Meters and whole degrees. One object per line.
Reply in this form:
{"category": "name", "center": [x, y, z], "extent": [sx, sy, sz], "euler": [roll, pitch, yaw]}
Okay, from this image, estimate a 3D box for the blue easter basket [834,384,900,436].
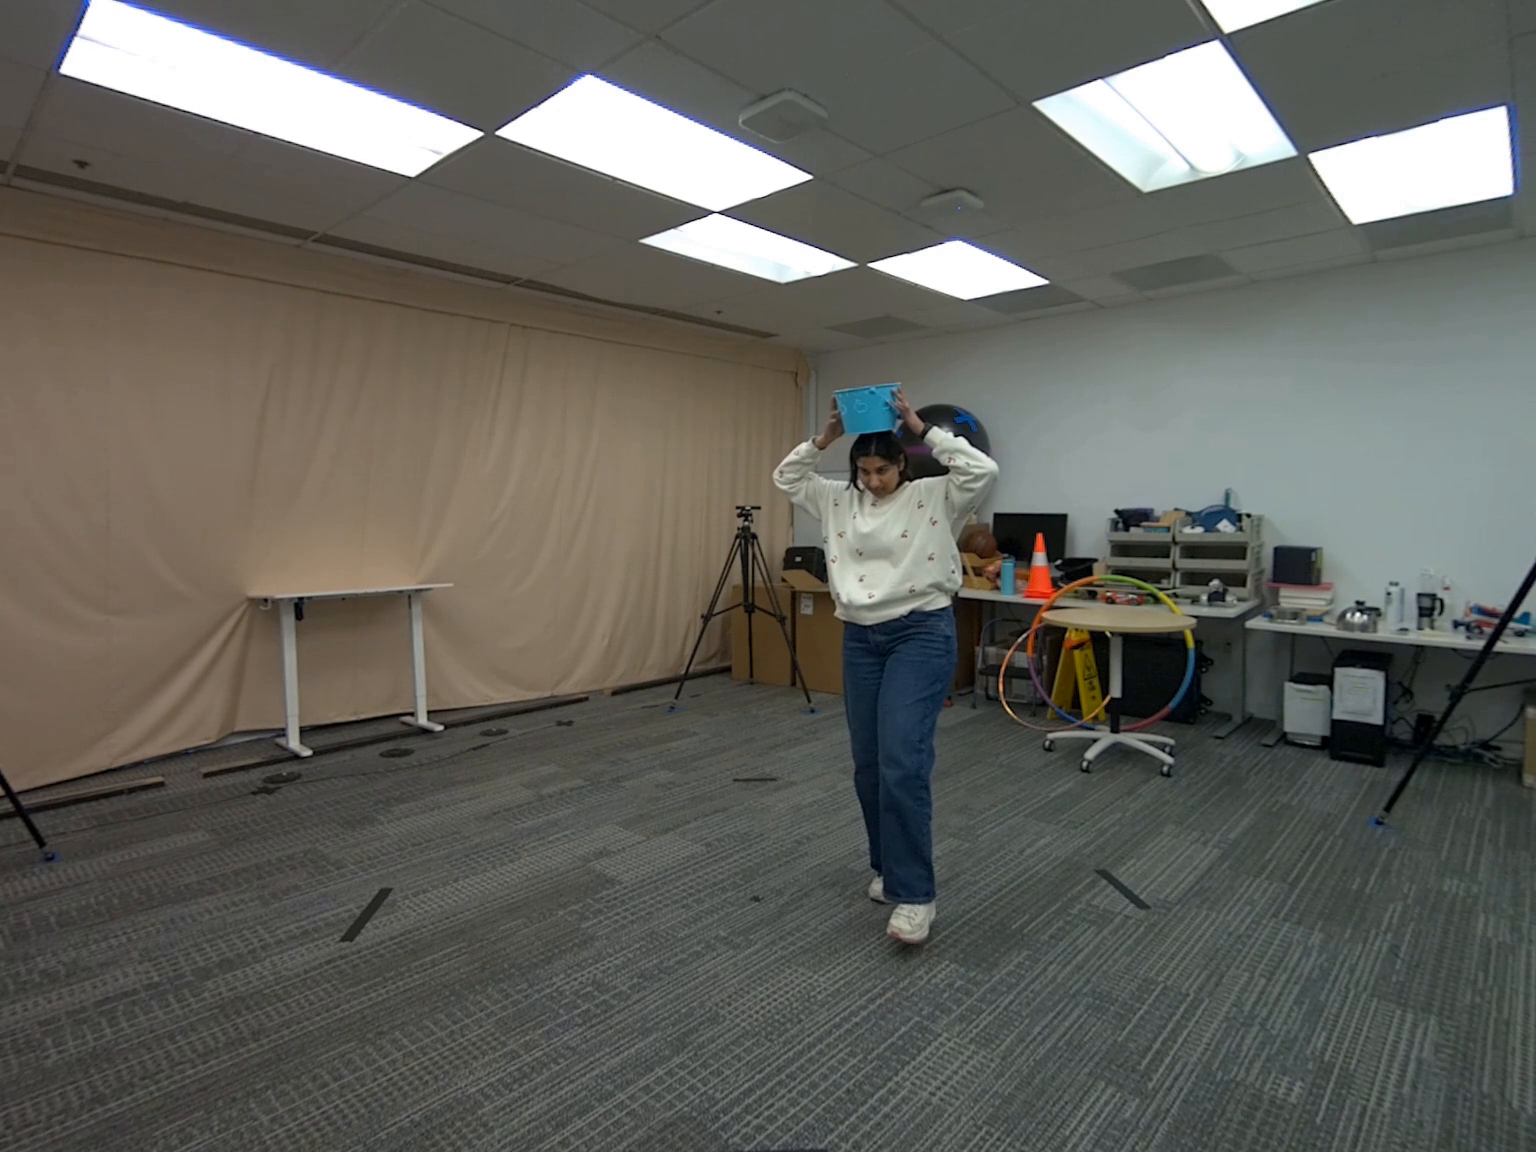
{"category": "blue easter basket", "center": [0.365, -0.575, 2.905], "extent": [0.244, 0.154, 0.245], "euler": [-8, 11, 0]}
